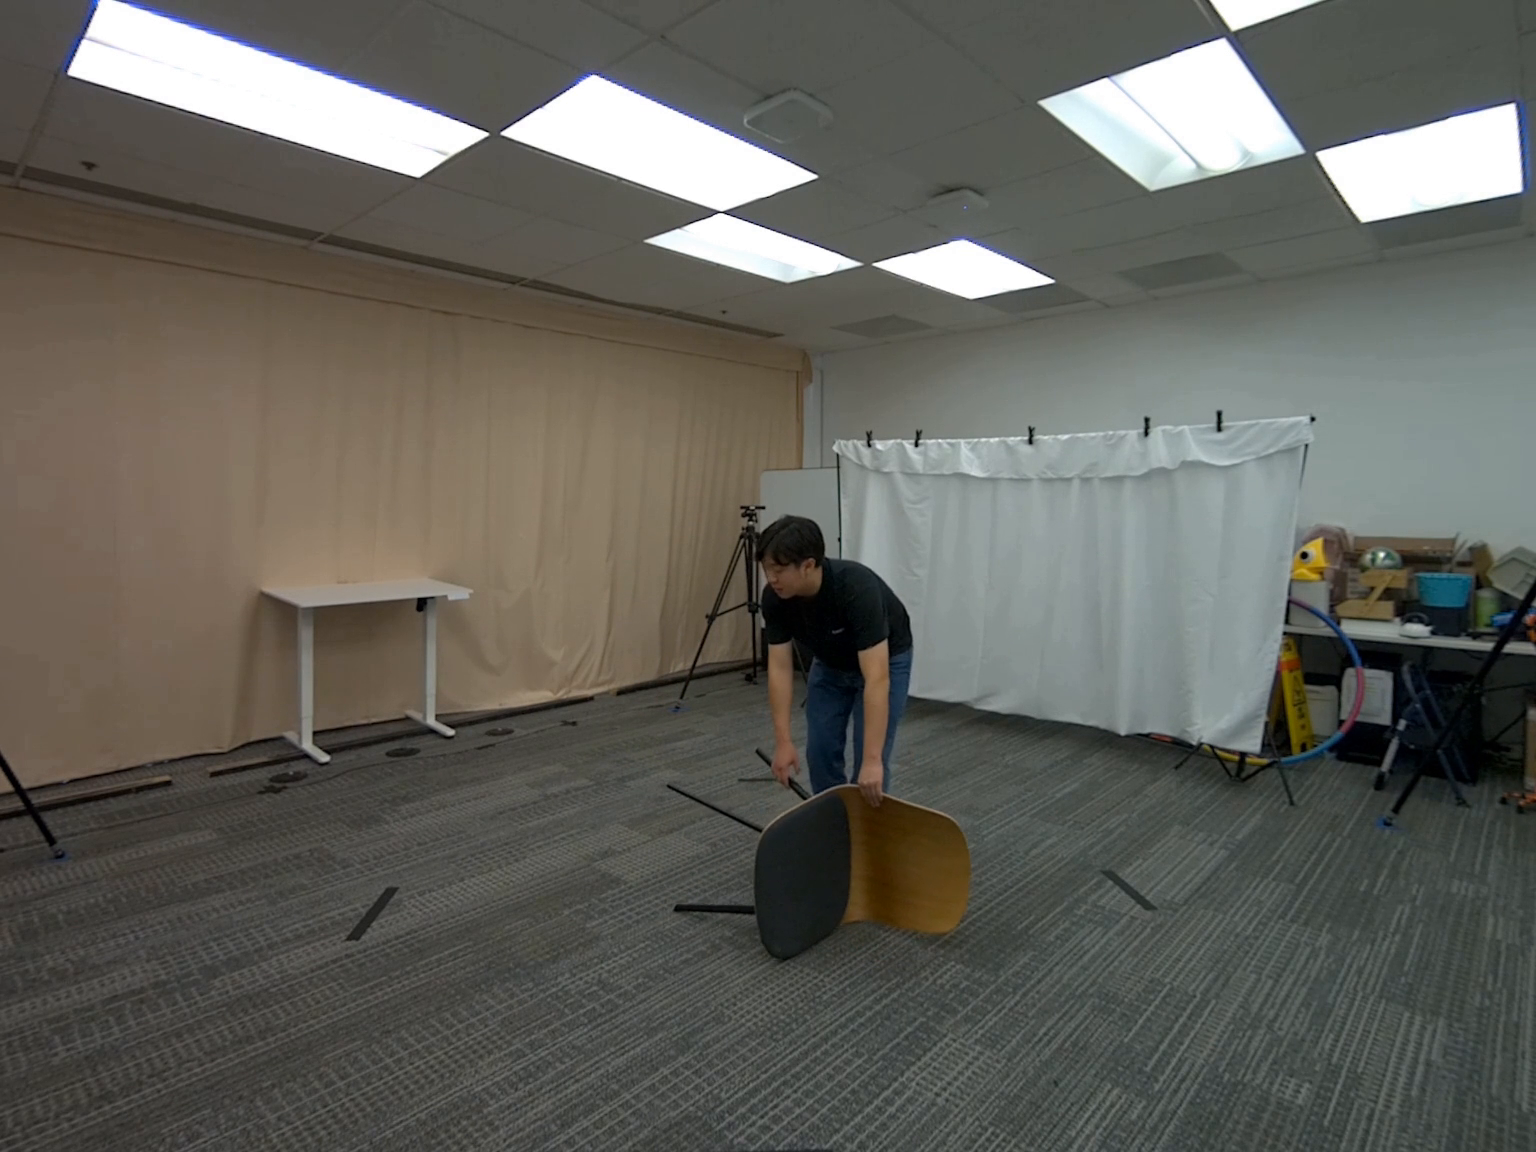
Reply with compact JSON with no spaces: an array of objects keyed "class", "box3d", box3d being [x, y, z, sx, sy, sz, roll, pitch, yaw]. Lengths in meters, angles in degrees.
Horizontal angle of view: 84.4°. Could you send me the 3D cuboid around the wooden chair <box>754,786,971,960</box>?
[{"class":"wooden chair","box3d":[0.134,0.929,2.714,0.907,0.476,0.508,5,10,40]}]
